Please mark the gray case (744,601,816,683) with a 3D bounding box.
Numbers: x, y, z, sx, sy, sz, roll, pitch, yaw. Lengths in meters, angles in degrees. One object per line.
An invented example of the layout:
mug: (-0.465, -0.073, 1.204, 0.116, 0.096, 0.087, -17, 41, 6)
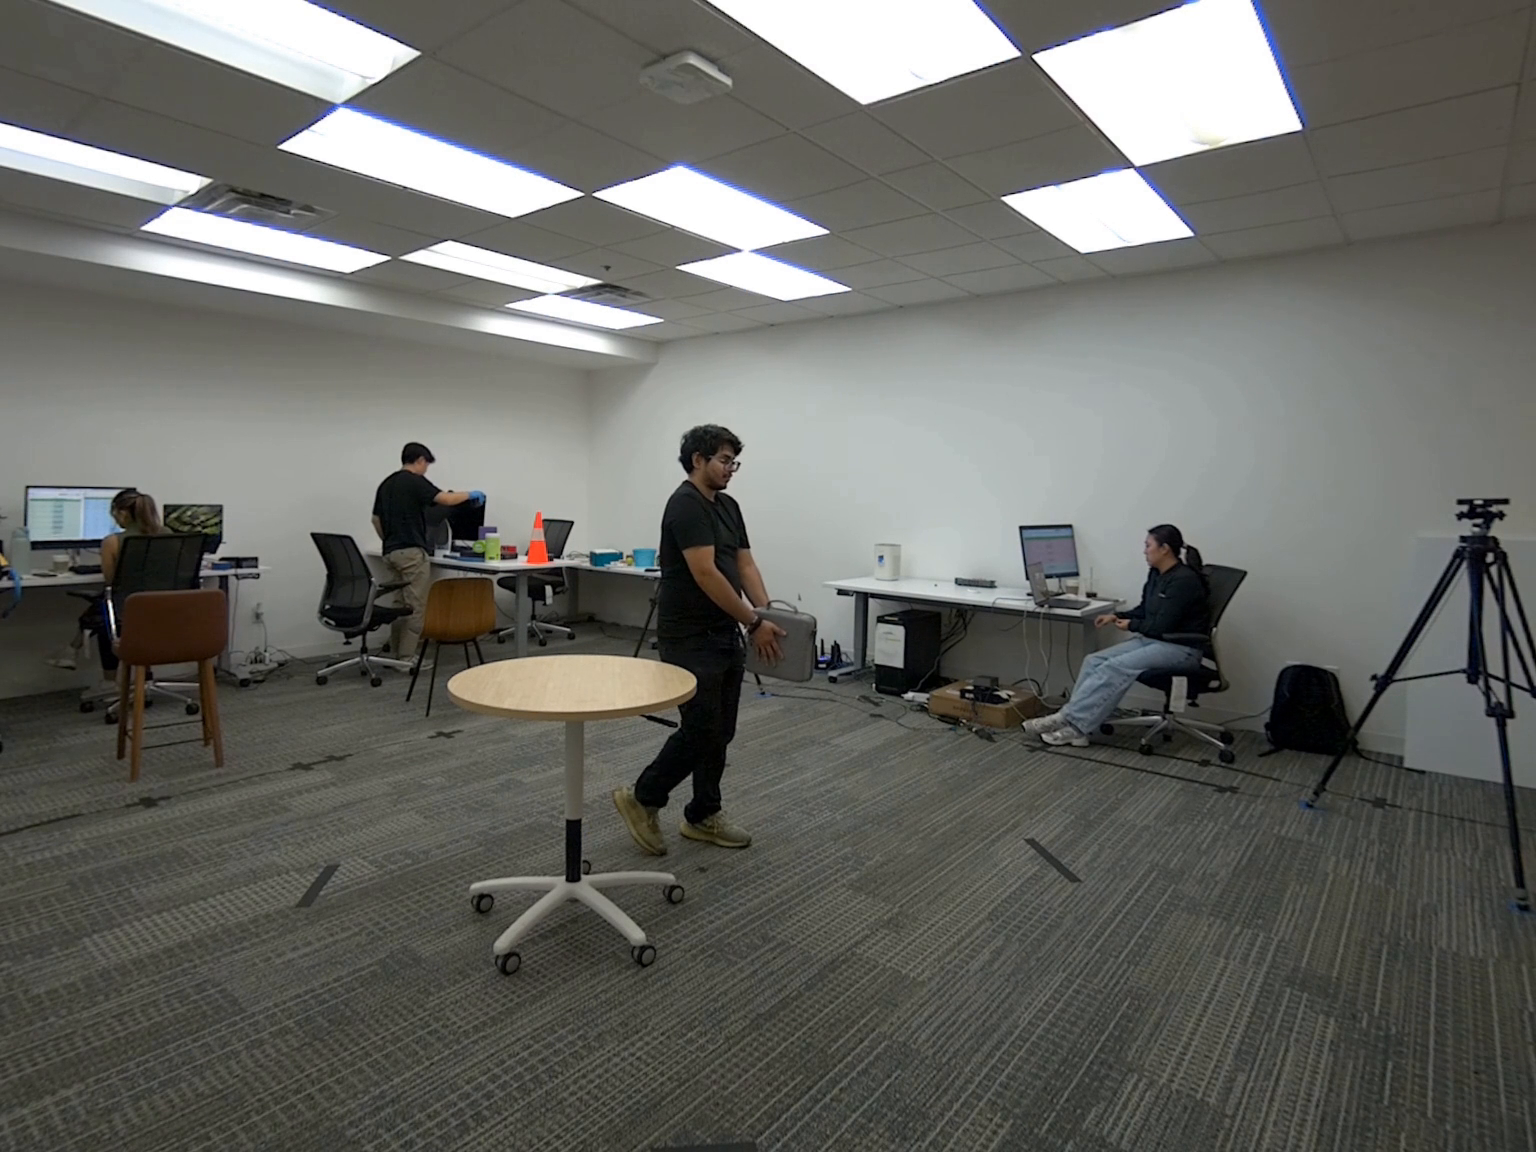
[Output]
gray case: (0.040, 0.255, 3.177, 0.264, 0.259, 0.102, 6, 7, 27)
